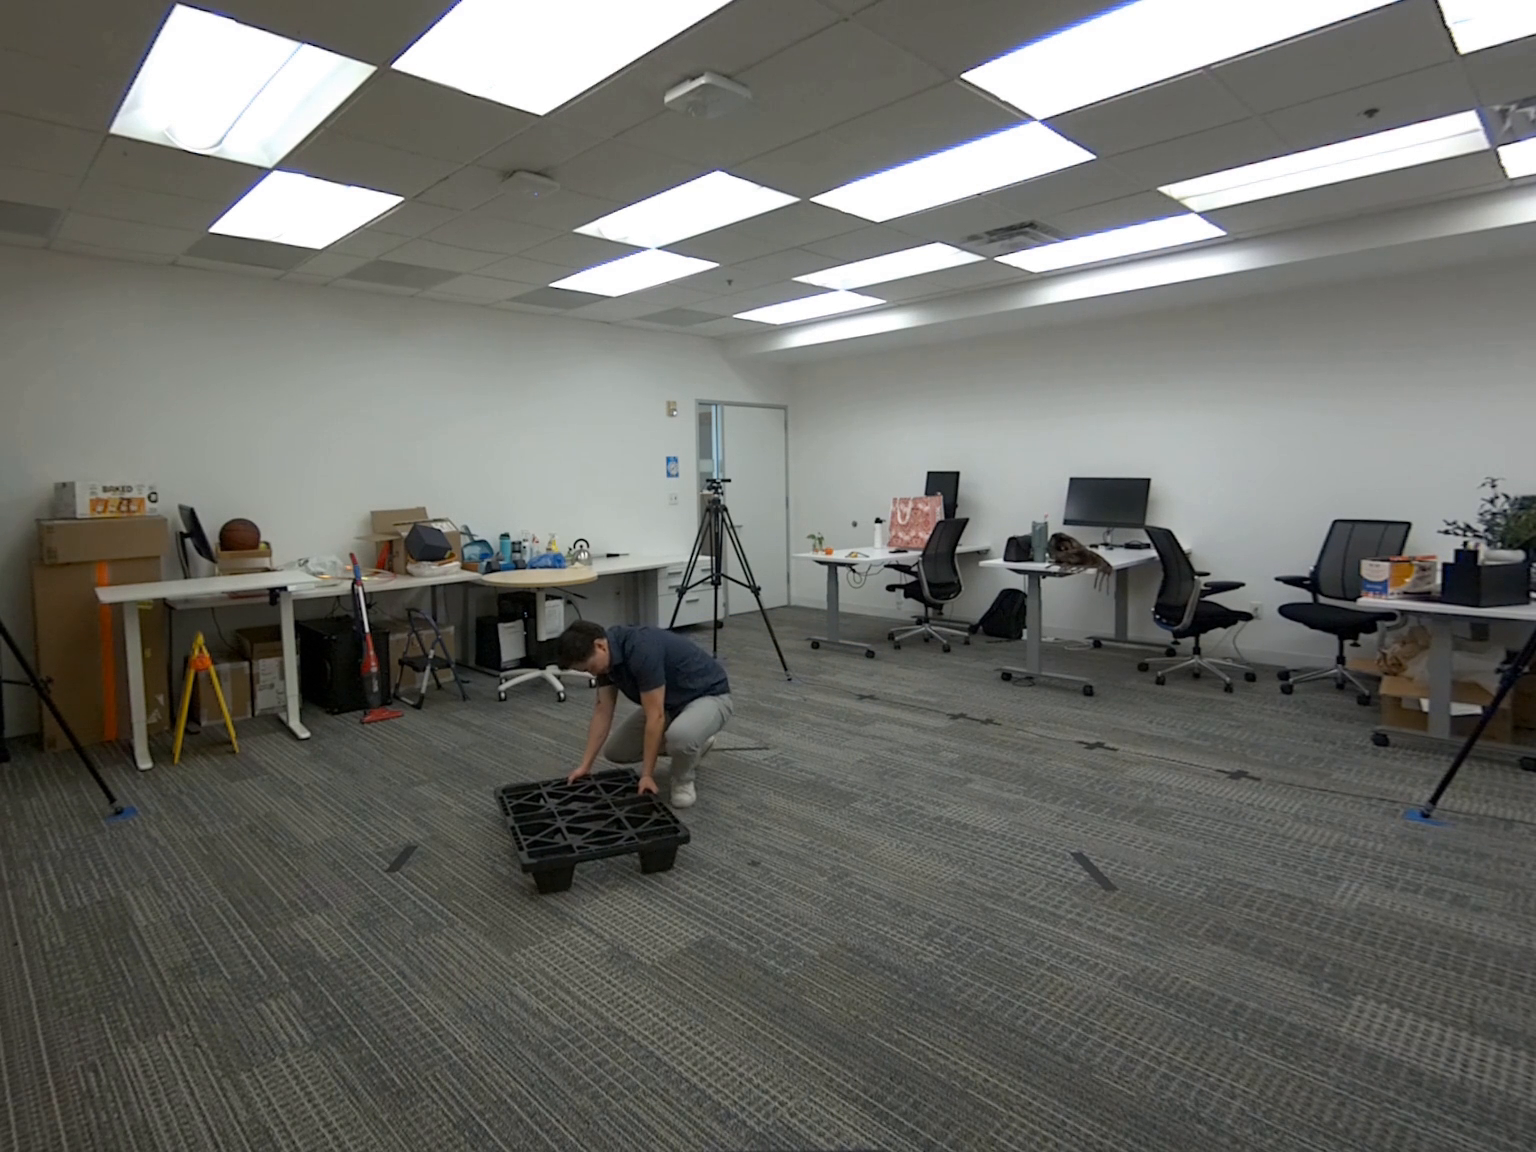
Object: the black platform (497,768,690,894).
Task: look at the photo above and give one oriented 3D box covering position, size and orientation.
[{"bbox_3d":[-0.712,0.969,3.304,0.594,0.142,0.824,-5,7,-23],"label":"black platform"}]
